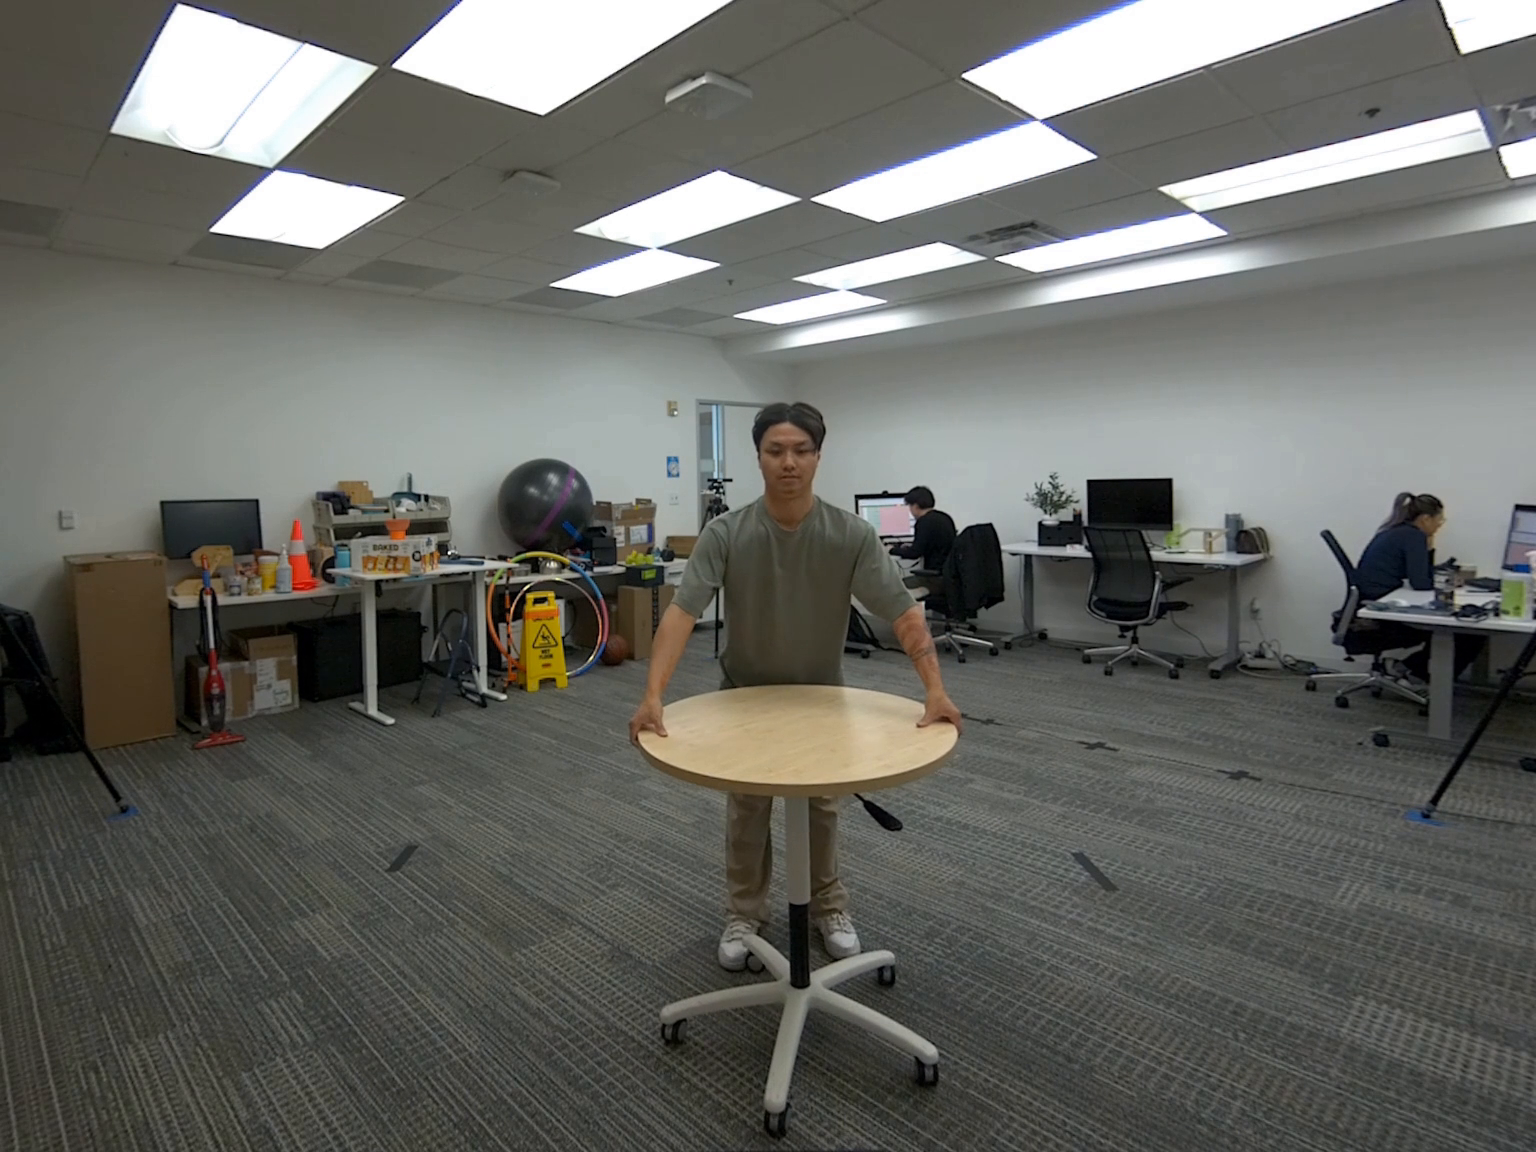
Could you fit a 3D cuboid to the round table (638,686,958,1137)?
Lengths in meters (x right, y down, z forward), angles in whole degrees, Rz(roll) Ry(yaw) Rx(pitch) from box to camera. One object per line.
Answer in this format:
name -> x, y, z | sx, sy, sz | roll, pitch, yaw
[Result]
round table -> 0.068, 0.760, 2.119 | 0.784, 0.782, 0.790 | -1, 6, -2
